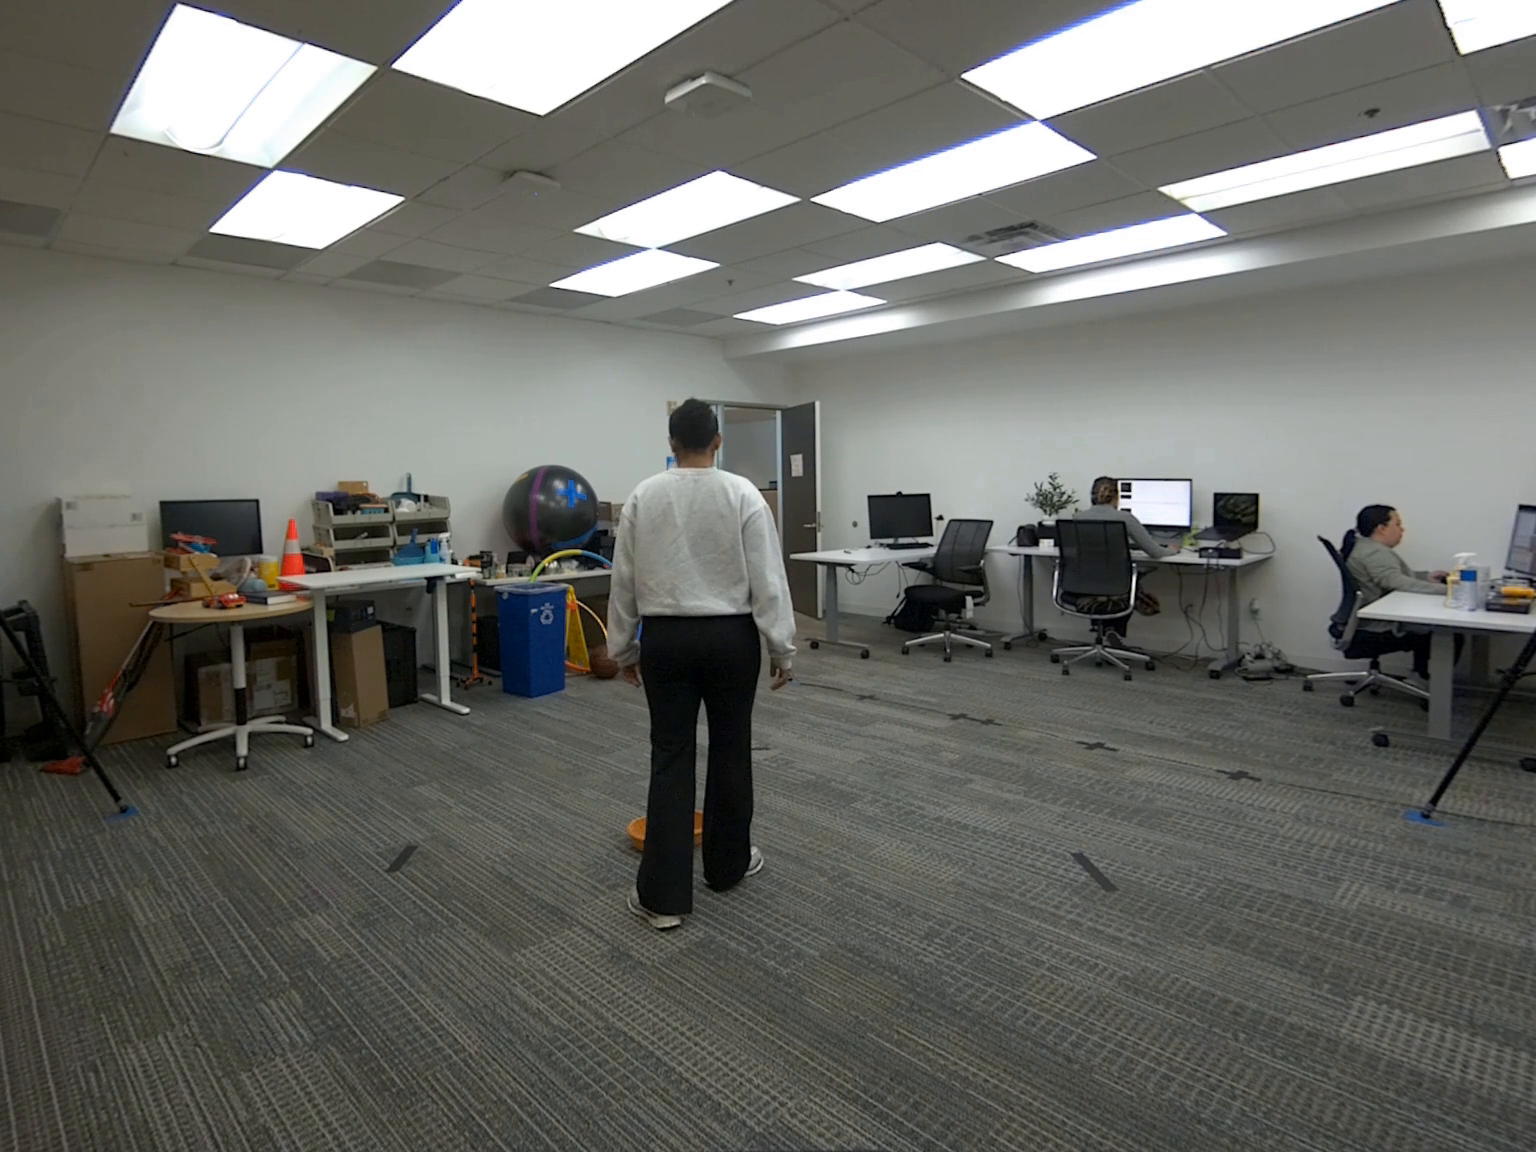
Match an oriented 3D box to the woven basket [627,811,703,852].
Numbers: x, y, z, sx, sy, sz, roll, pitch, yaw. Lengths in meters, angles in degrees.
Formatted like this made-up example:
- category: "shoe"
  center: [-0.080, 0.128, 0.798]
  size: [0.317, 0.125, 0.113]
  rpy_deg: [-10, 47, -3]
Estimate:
- category: "woven basket"
  center: [-0.367, 0.991, 3.300]
  size: [0.342, 0.073, 0.259]
  rpy_deg: [-4, 7, -29]
